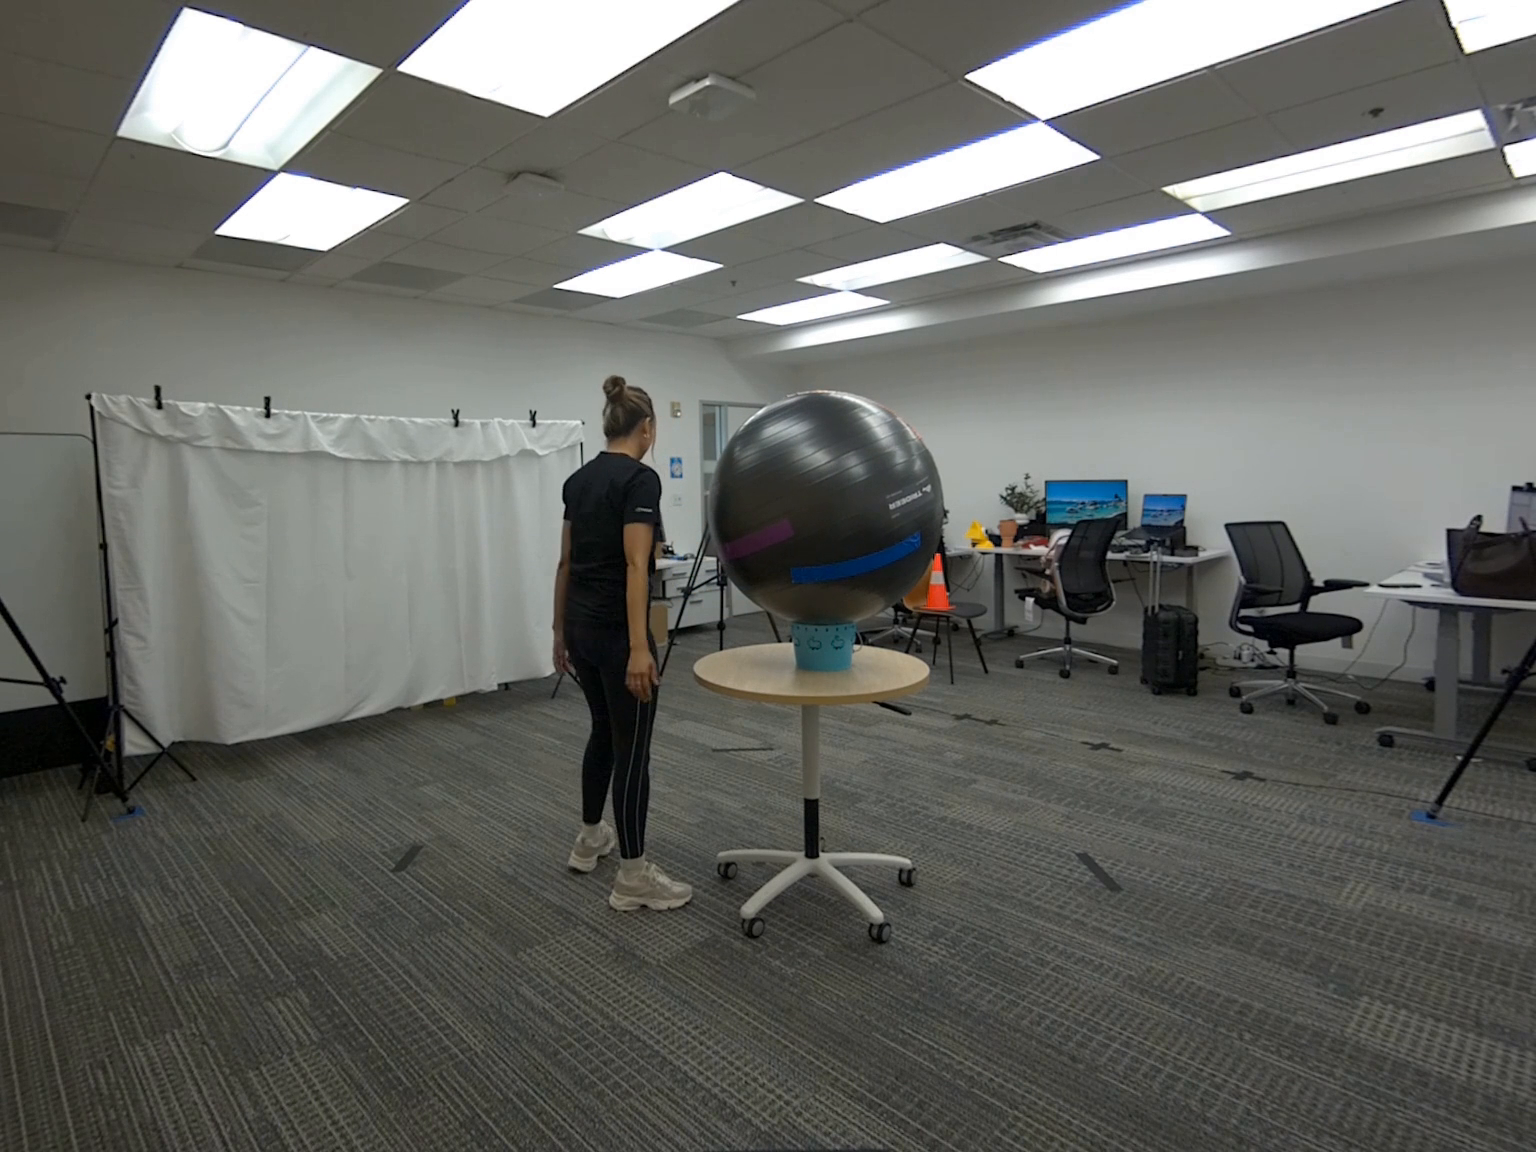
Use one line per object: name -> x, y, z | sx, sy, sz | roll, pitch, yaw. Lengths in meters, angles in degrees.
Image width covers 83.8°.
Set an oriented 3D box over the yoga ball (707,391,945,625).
yoga ball -> 0.193, -0.211, 2.766 | 0.757, 0.755, 0.762 | -1, 5, -2
